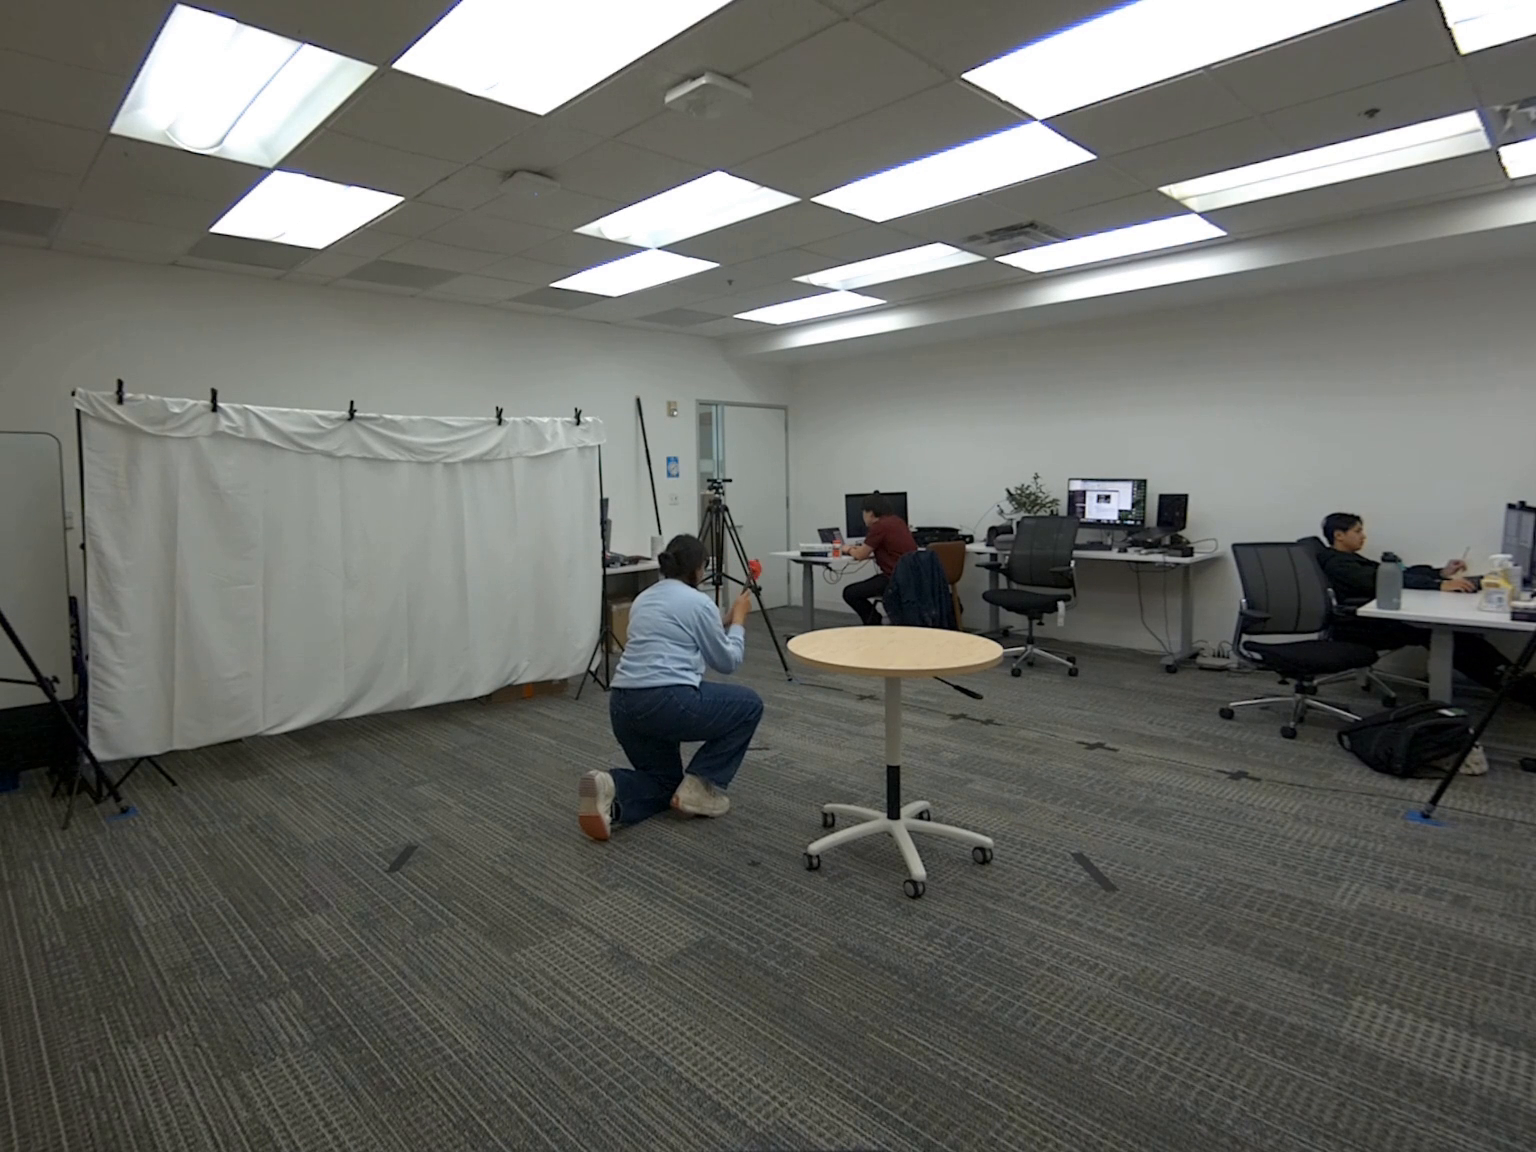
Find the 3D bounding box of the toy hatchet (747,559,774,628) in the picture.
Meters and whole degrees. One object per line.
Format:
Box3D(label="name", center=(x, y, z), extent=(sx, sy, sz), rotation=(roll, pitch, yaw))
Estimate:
Box3D(label="toy hatchet", center=(-0.085, 0.065, 3.910), extent=(0.030, 0.270, 0.127), rotation=(13, 2, 30))
